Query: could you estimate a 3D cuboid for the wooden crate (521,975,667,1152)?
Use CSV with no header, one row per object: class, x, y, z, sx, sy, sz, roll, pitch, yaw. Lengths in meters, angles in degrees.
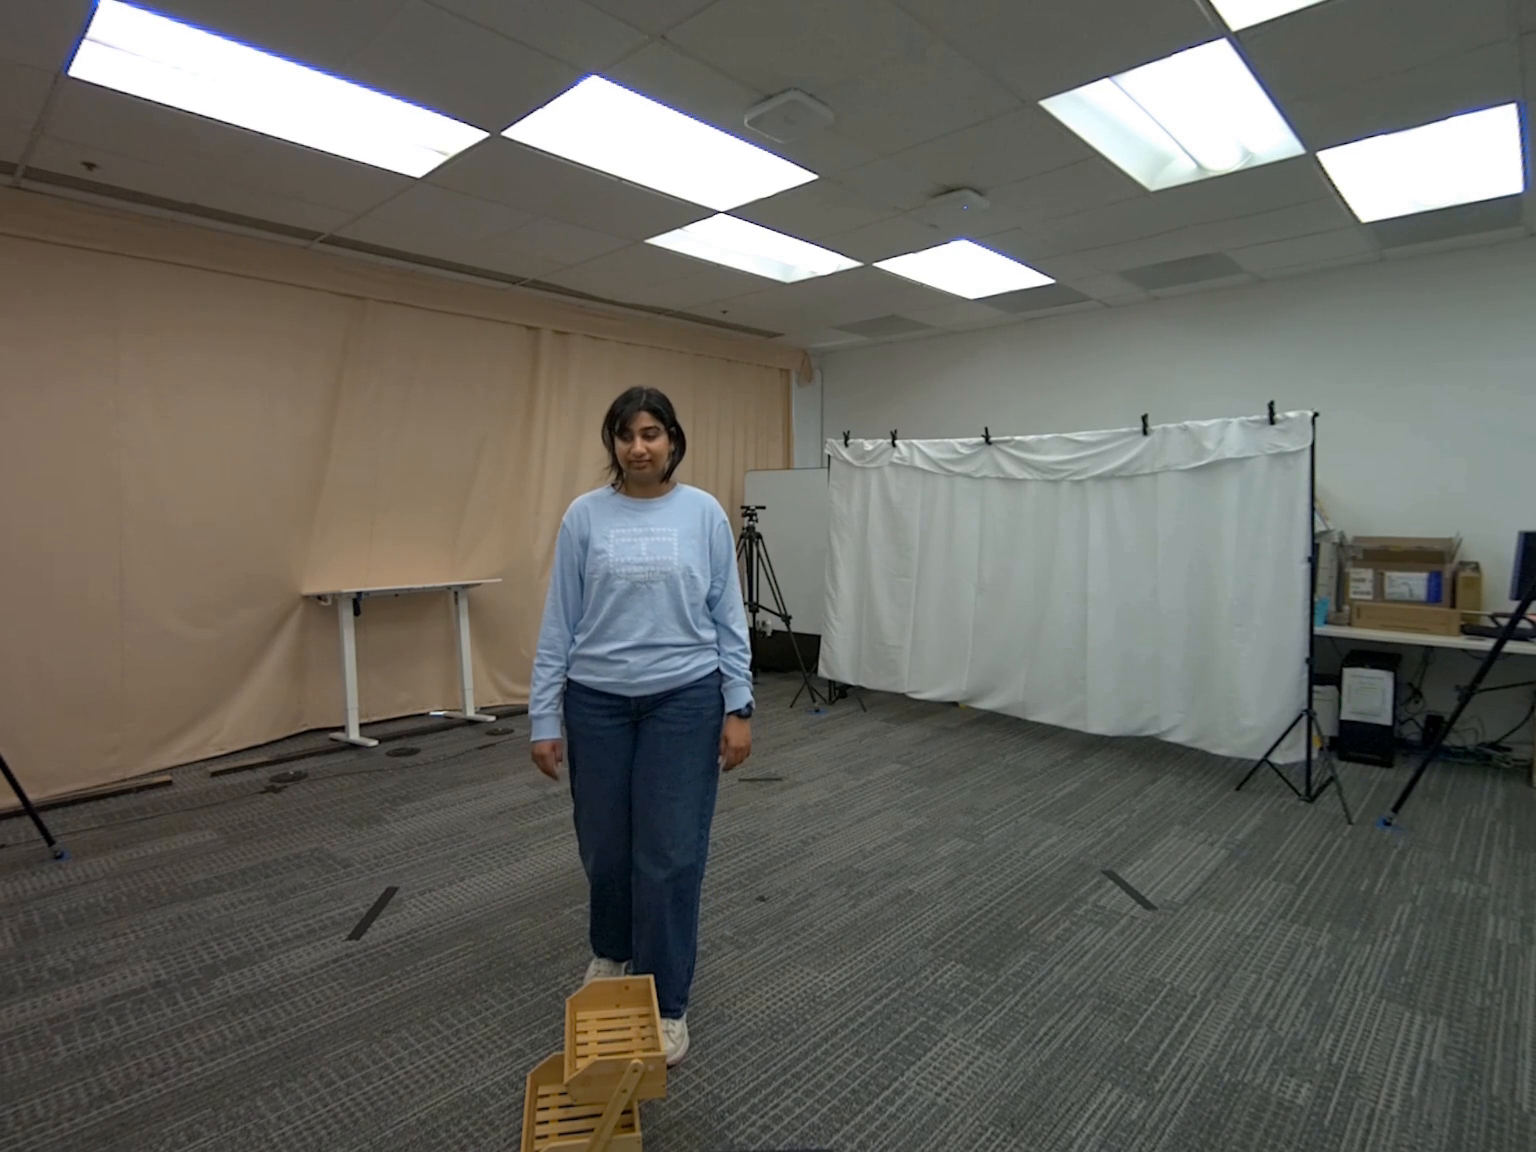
wooden crate,-0.397,1.103,1.868,0.298,0.273,0.329,0,4,-12
